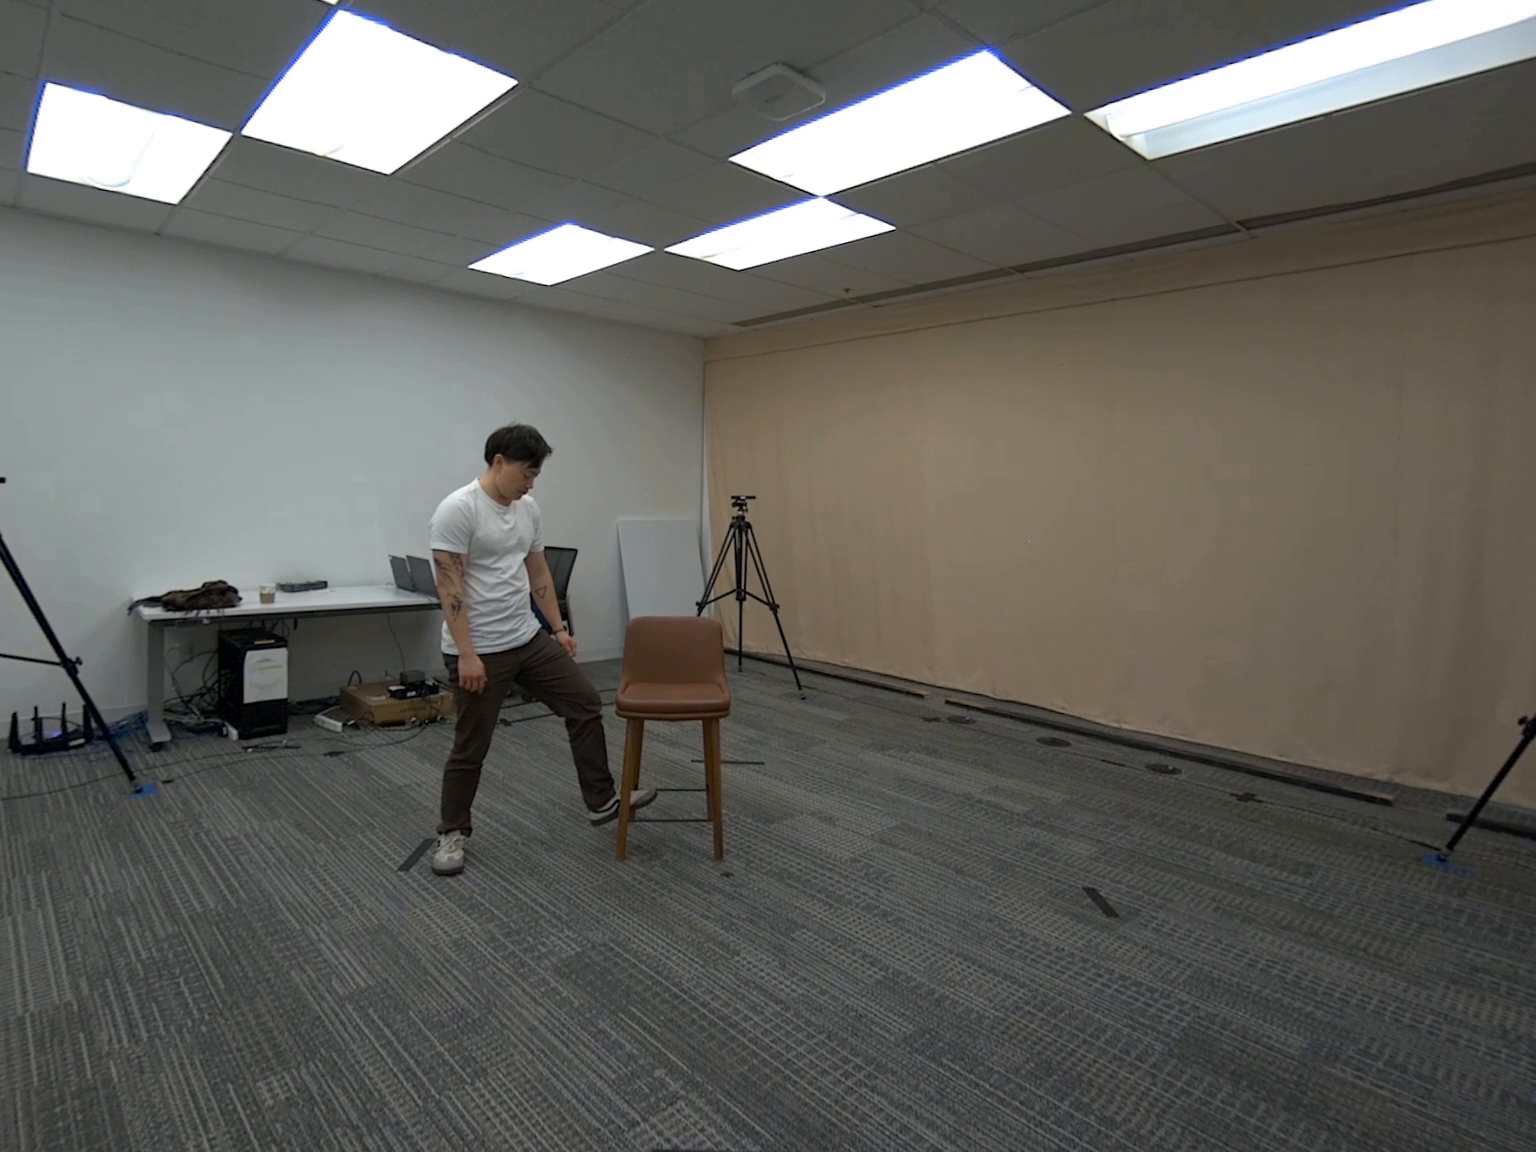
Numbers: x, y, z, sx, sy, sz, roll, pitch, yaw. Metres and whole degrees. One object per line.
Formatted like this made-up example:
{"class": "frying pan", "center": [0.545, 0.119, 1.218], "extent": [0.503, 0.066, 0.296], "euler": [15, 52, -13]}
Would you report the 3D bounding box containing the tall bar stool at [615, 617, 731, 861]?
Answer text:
{"class": "tall bar stool", "center": [-0.391, 0.633, 3.414], "extent": [0.455, 0.889, 0.469], "euler": [1, 2, -4]}
